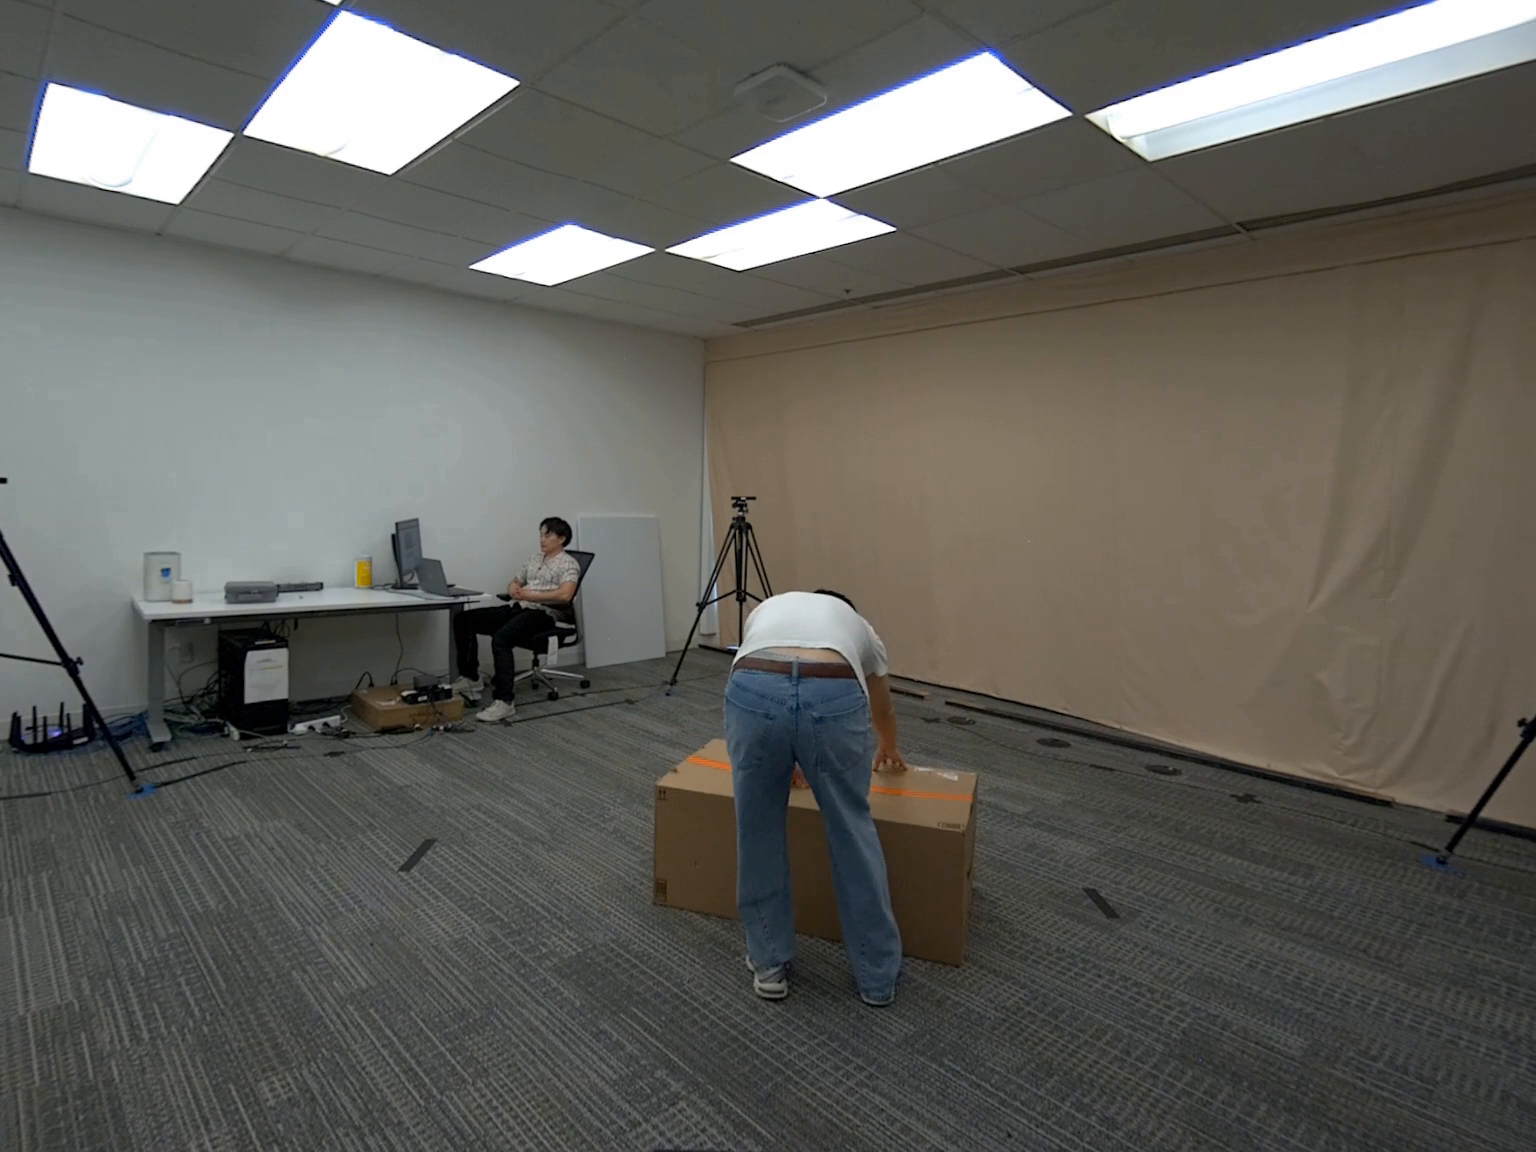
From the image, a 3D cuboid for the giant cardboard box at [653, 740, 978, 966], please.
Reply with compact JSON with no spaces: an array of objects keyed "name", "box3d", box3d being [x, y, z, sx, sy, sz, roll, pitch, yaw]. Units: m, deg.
[{"name":"giant cardboard box","box3d":[0.178,0.913,2.948,1.042,0.425,0.570,3,5,20]}]
